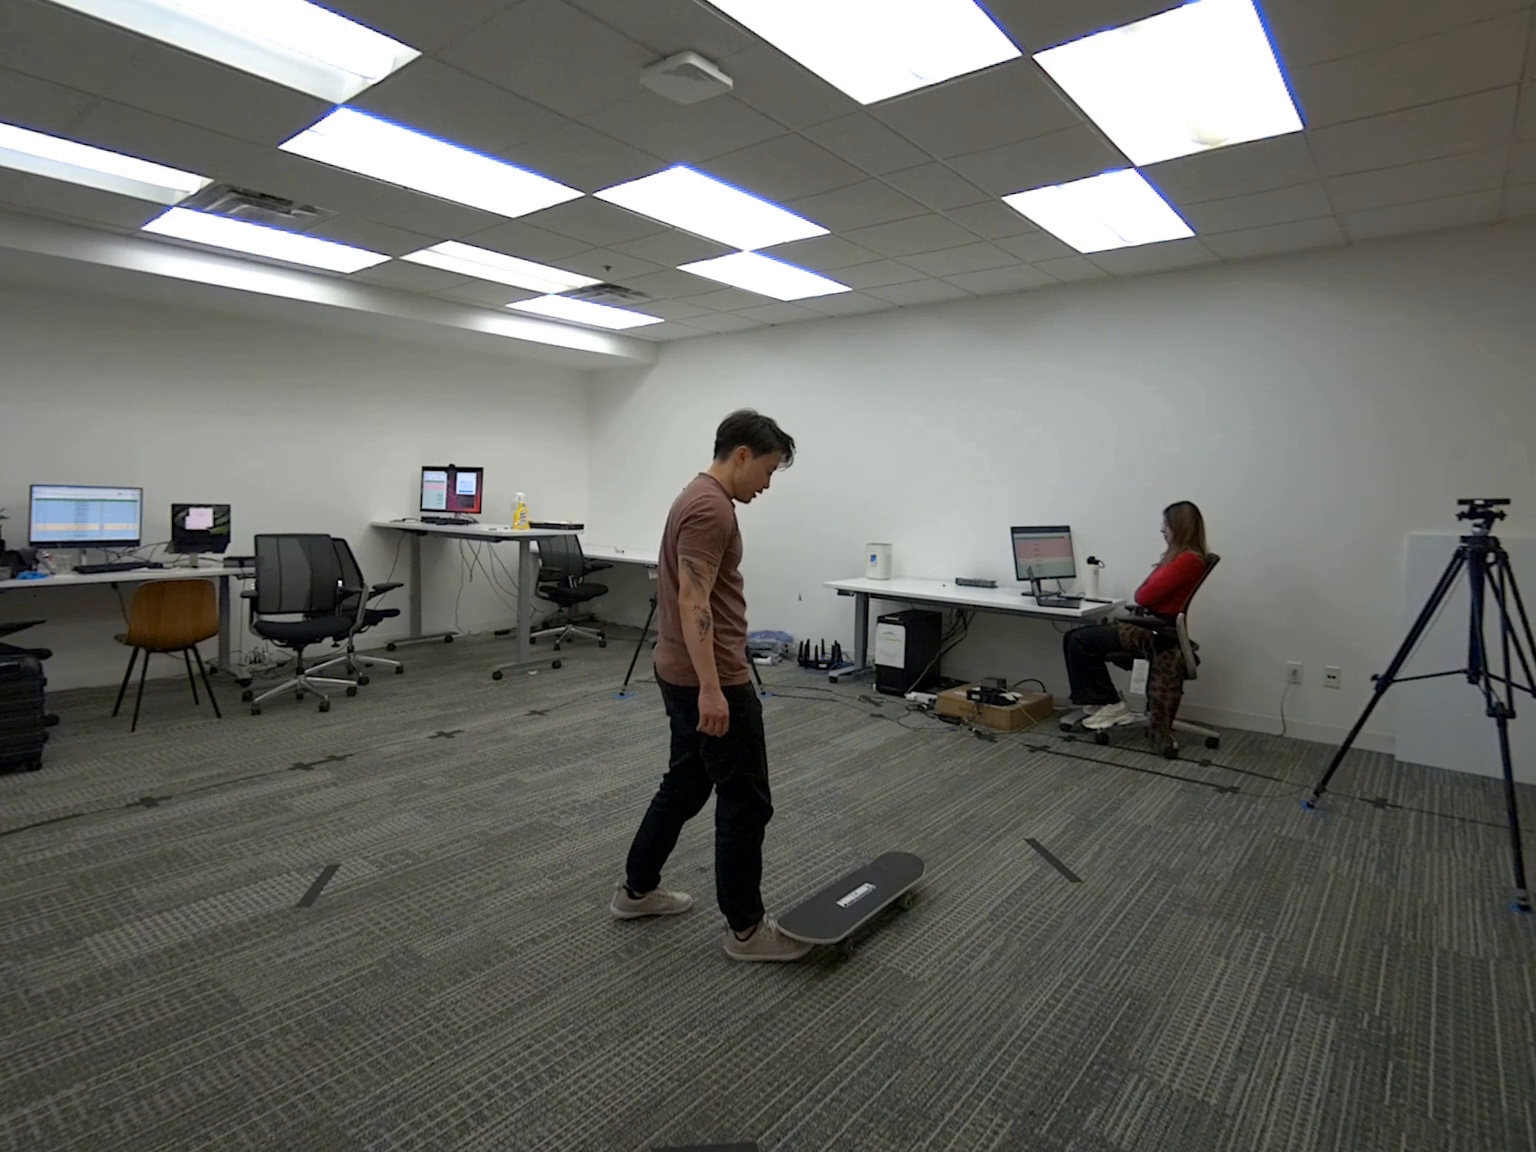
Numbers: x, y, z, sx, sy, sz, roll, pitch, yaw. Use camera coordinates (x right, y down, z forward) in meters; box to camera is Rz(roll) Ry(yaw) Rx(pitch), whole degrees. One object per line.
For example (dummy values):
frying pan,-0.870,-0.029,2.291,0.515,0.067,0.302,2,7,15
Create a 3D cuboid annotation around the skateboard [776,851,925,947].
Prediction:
skateboard,0.281,1.057,2.734,0.200,0.110,0.762,5,5,36
